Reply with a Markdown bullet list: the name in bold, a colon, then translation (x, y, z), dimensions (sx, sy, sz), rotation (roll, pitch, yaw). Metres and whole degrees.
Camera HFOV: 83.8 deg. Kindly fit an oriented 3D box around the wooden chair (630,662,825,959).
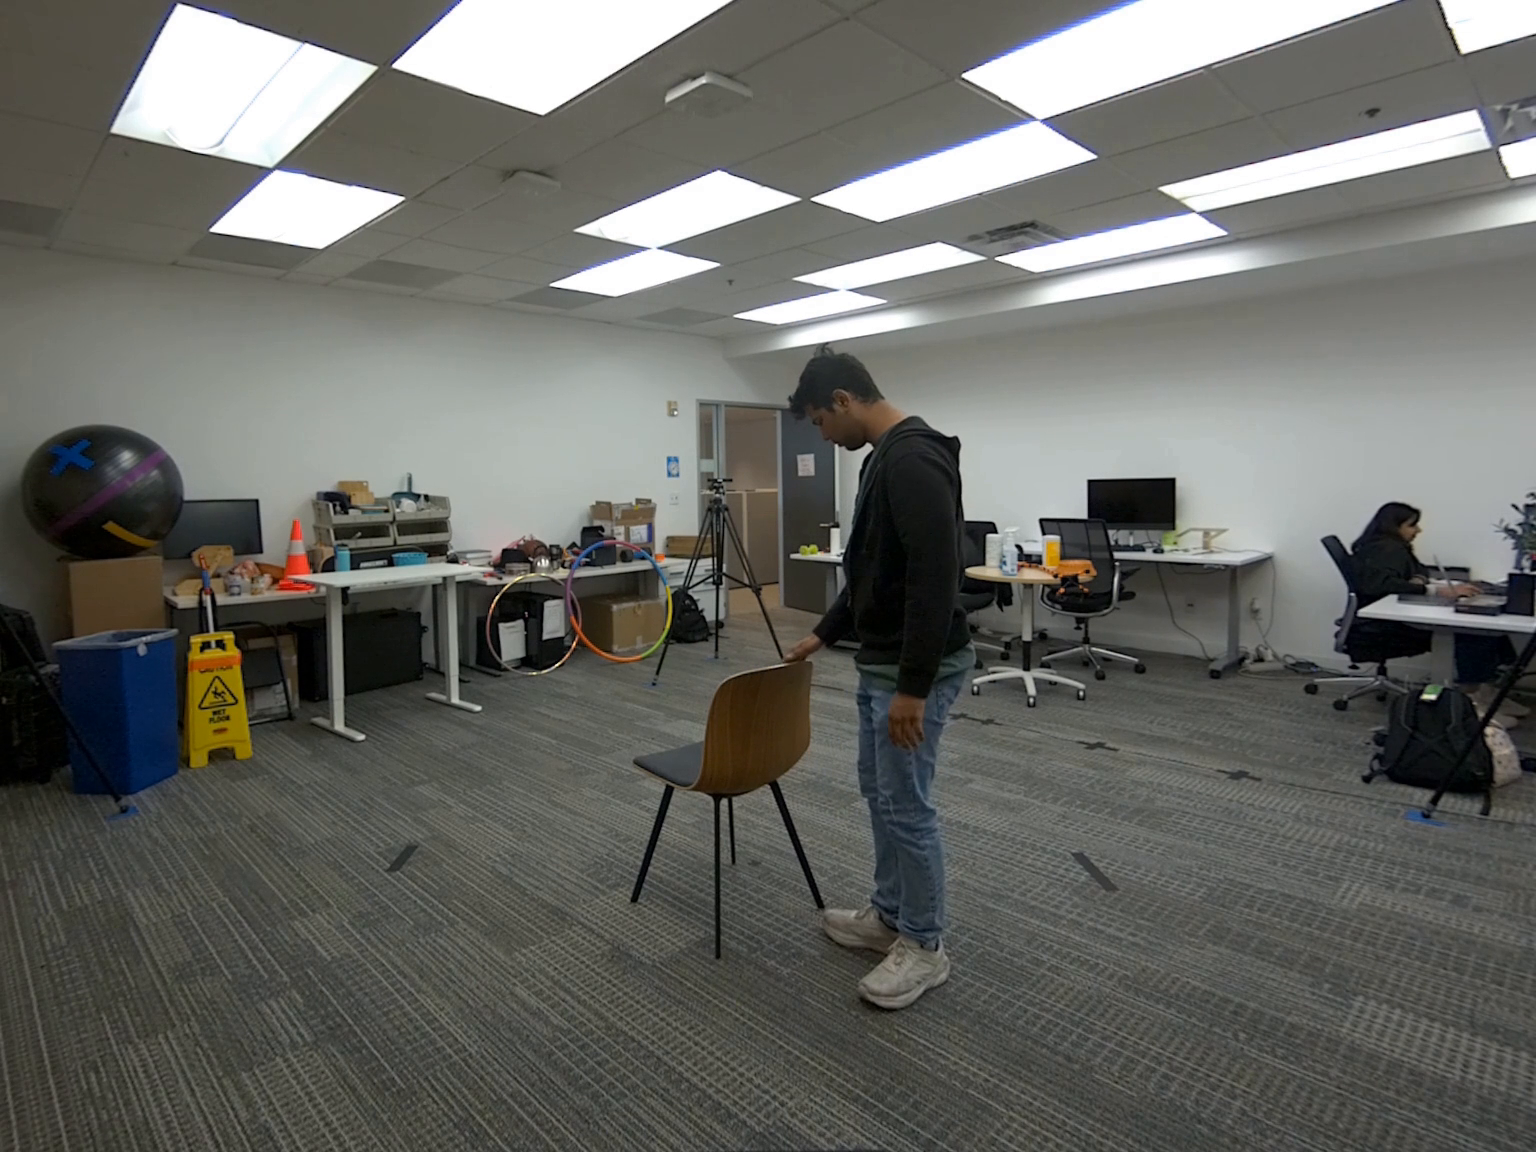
- **wooden chair**: translation (-0.143, 0.659, 2.780), dimensions (0.466, 0.871, 0.541), rotation (-5, 11, -40)
